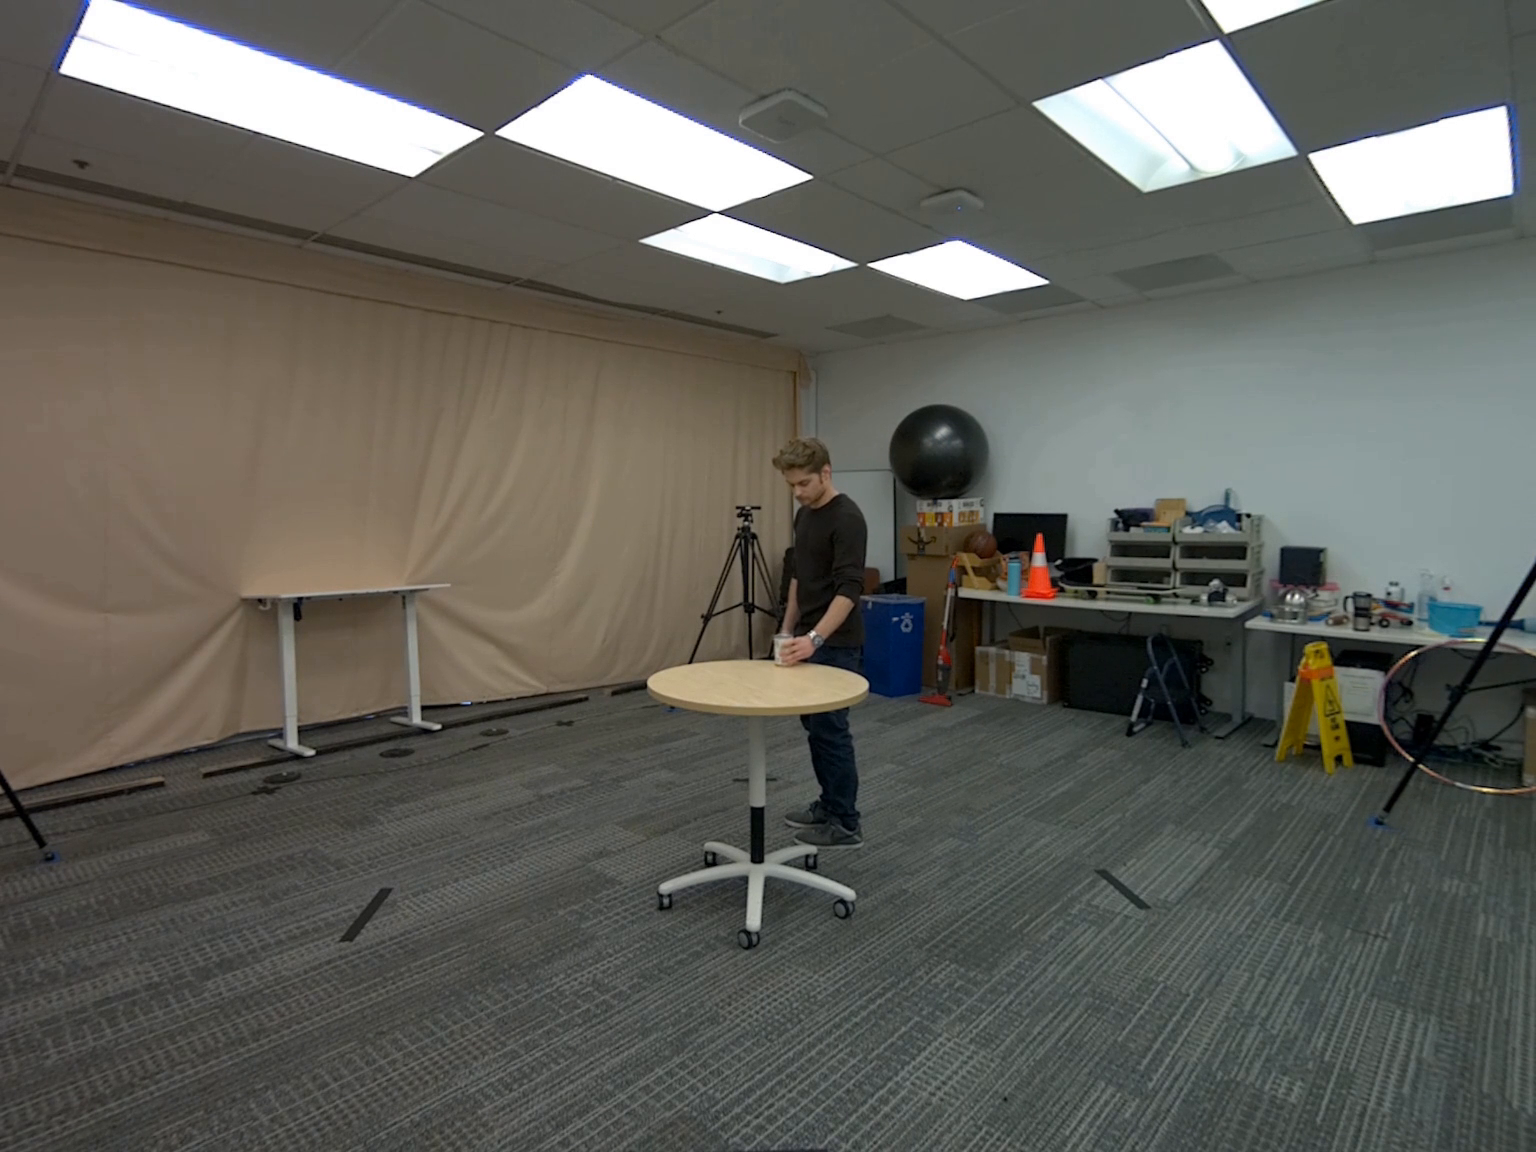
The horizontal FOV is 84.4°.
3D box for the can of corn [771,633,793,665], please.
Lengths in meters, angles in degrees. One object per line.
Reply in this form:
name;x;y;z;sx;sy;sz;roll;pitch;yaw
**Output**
can of corn;0.065;0.284;3.190;0.074;0.111;0.074;-1;5;-2
